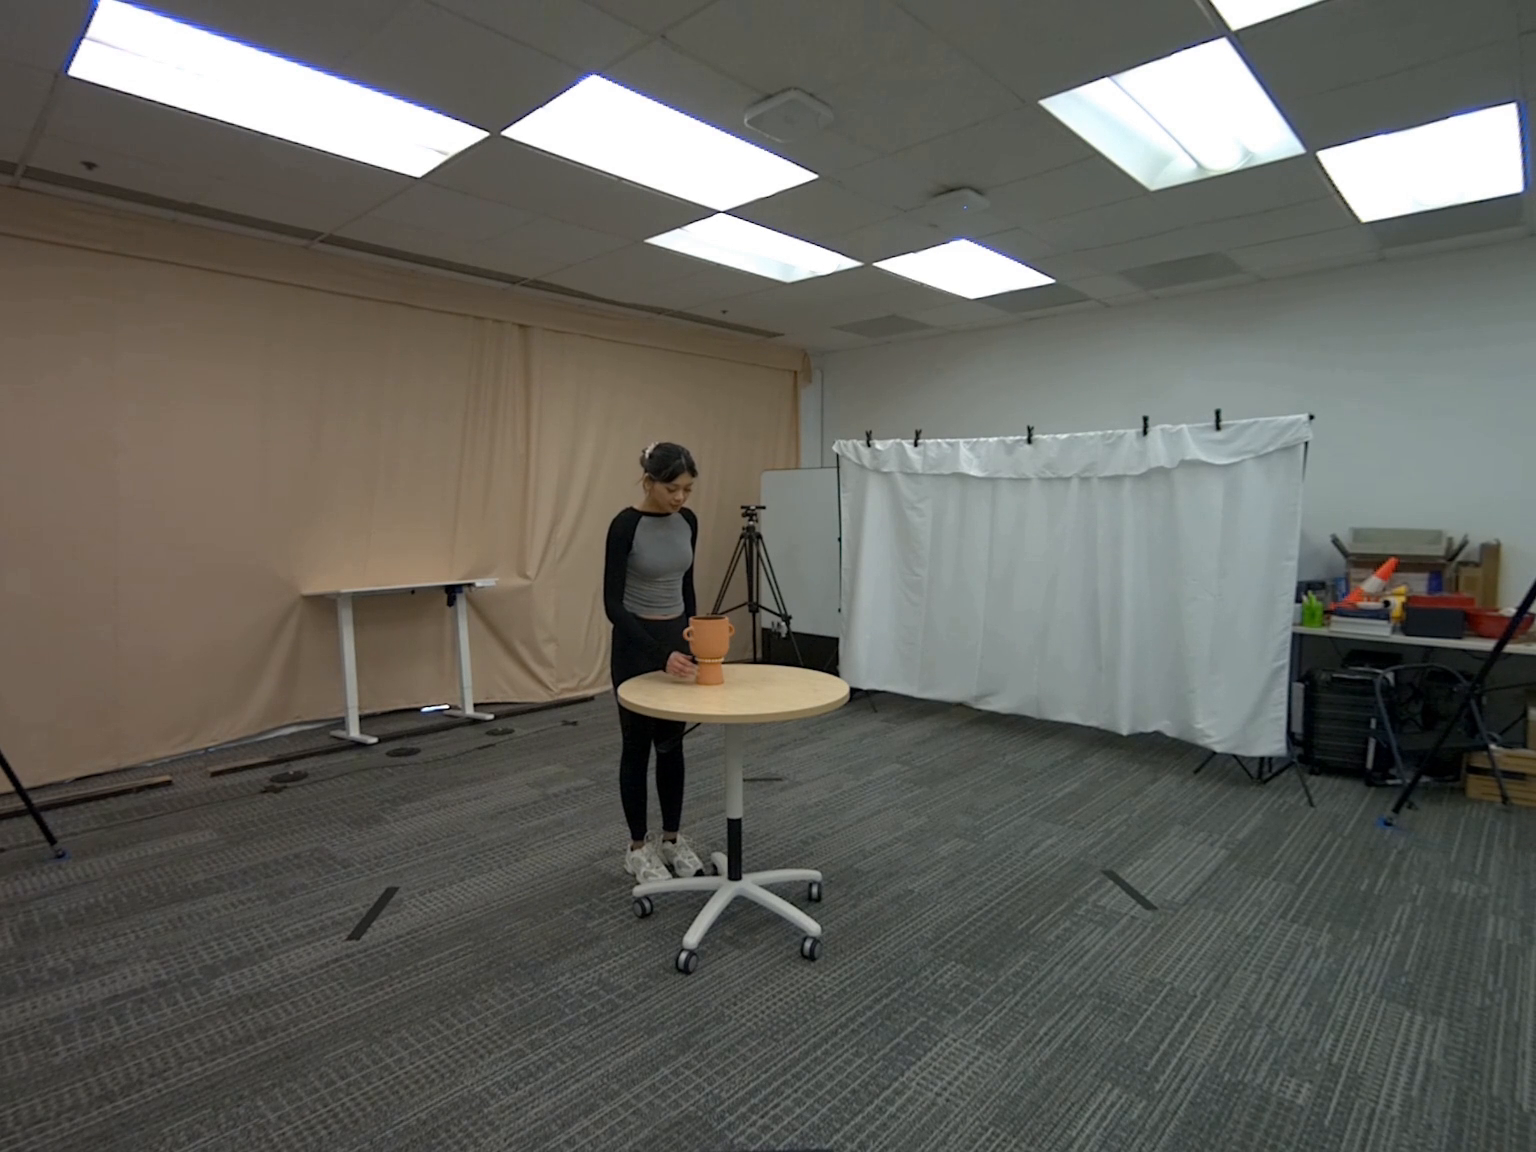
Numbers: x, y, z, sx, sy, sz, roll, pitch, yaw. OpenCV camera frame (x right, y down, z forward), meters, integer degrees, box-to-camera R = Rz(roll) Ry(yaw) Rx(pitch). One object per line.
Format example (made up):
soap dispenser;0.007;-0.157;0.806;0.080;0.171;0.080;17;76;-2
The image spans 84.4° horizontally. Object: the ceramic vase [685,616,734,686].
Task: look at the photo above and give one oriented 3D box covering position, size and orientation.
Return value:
ceramic vase;-0.201;0.254;2.855;0.160;0.219;0.134;0;3;6
